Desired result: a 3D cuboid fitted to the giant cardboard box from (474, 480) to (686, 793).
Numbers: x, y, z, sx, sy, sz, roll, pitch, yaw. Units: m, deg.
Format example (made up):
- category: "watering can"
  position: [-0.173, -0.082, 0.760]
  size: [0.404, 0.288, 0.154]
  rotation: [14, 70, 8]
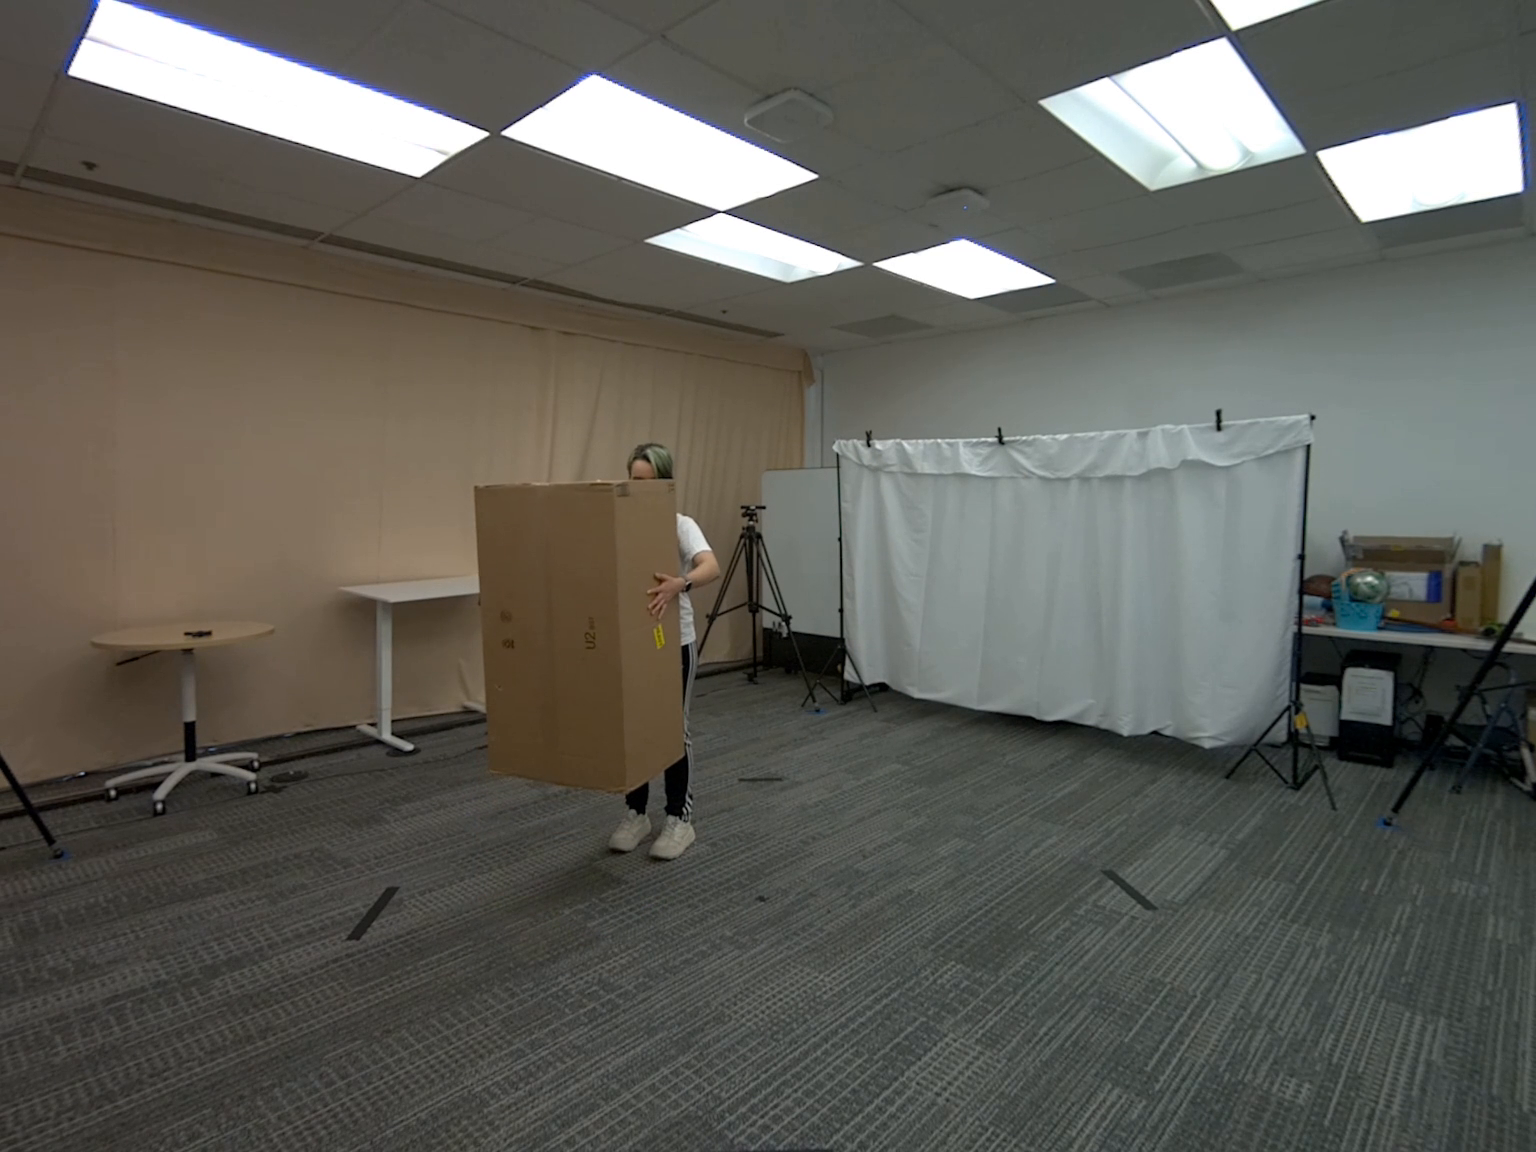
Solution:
- category: "giant cardboard box"
  position: [-0.660, 0.182, 3.011]
  size: [0.592, 1.023, 0.417]
  rotation: [1, 5, 24]
